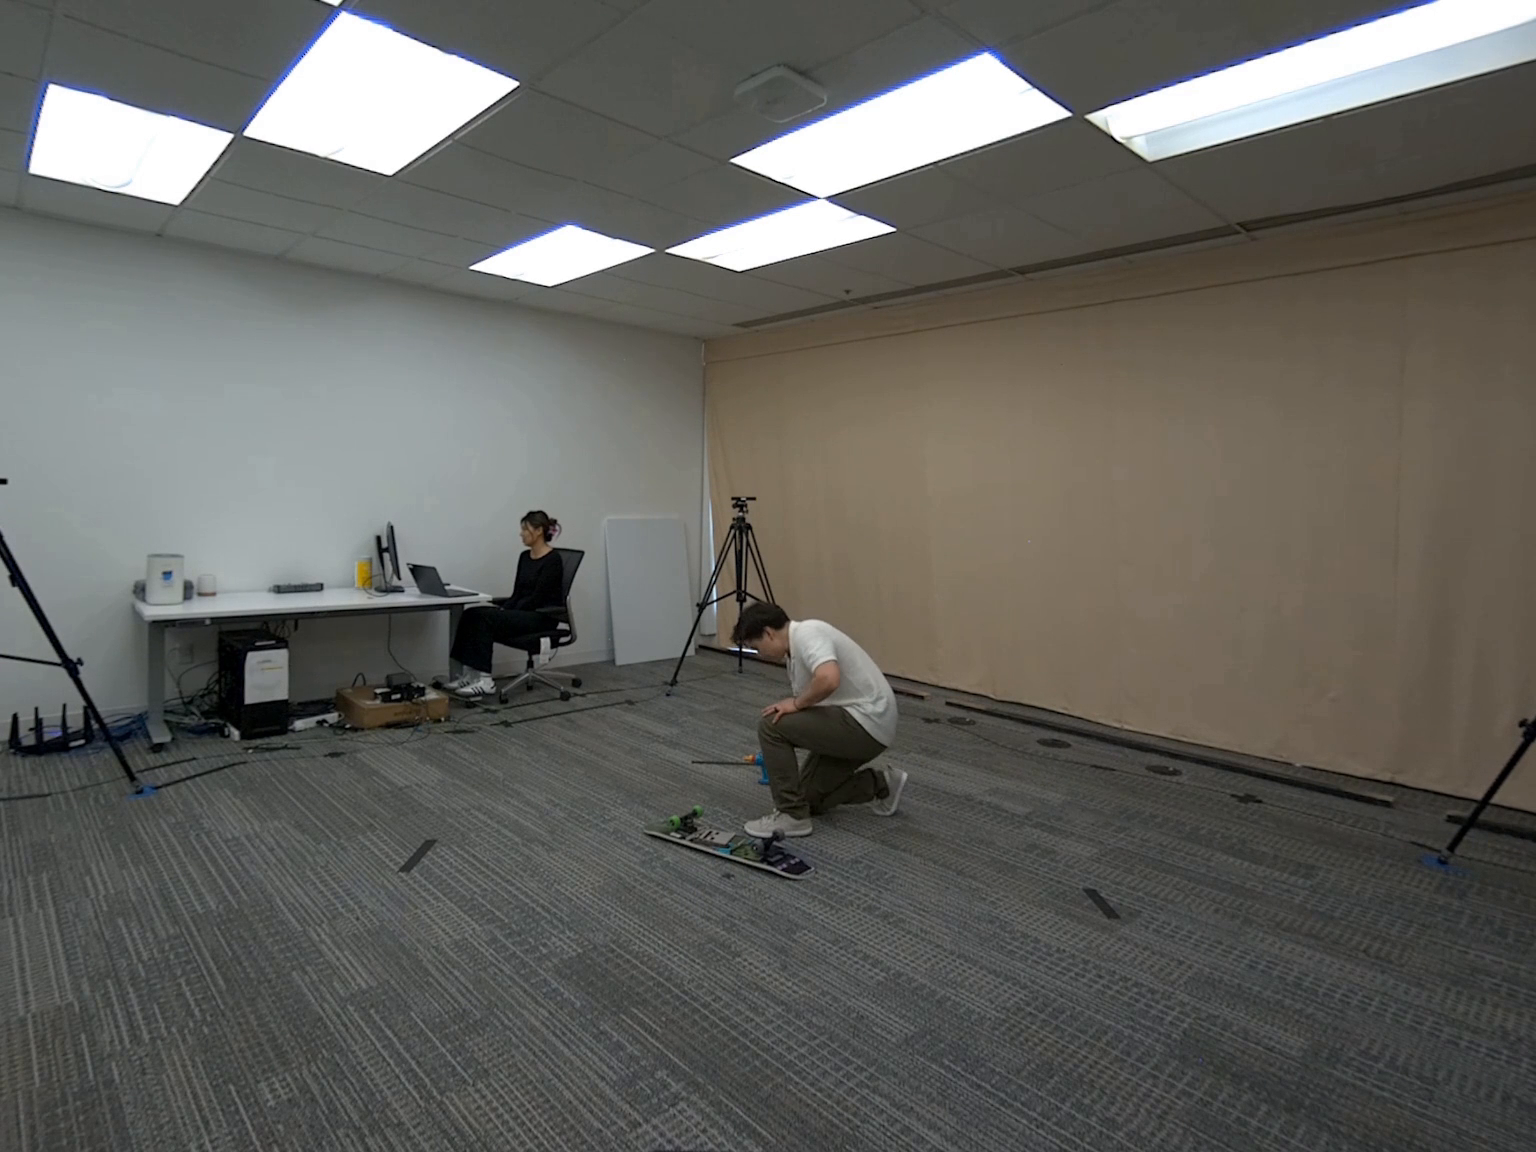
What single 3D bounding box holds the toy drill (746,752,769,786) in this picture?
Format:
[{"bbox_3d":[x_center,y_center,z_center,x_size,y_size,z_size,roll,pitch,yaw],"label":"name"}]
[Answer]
[{"bbox_3d":[-0.059,0.943,4.158,0.172,0.145,0.060,3,4,15],"label":"toy drill"}]
